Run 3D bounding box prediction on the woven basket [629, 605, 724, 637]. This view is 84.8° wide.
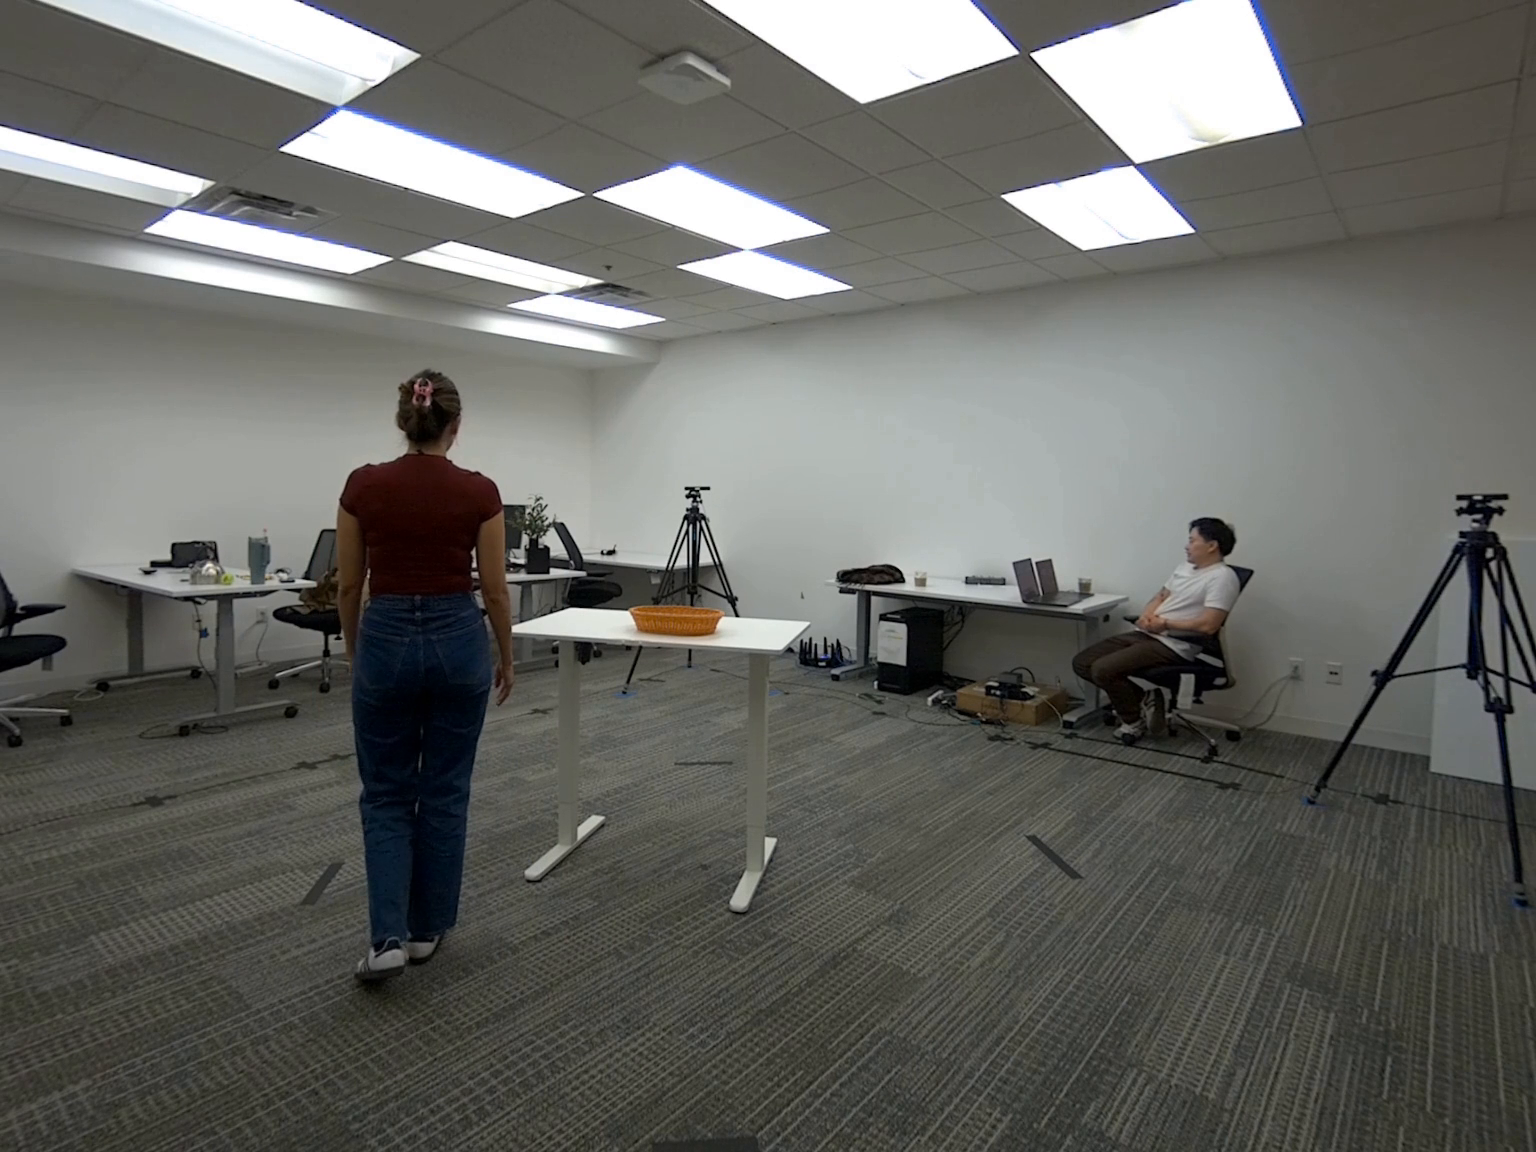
[{"bbox_3d":[-0.341,0.163,3.012,0.357,0.073,0.248,3,5,17],"label":"woven basket"}]
